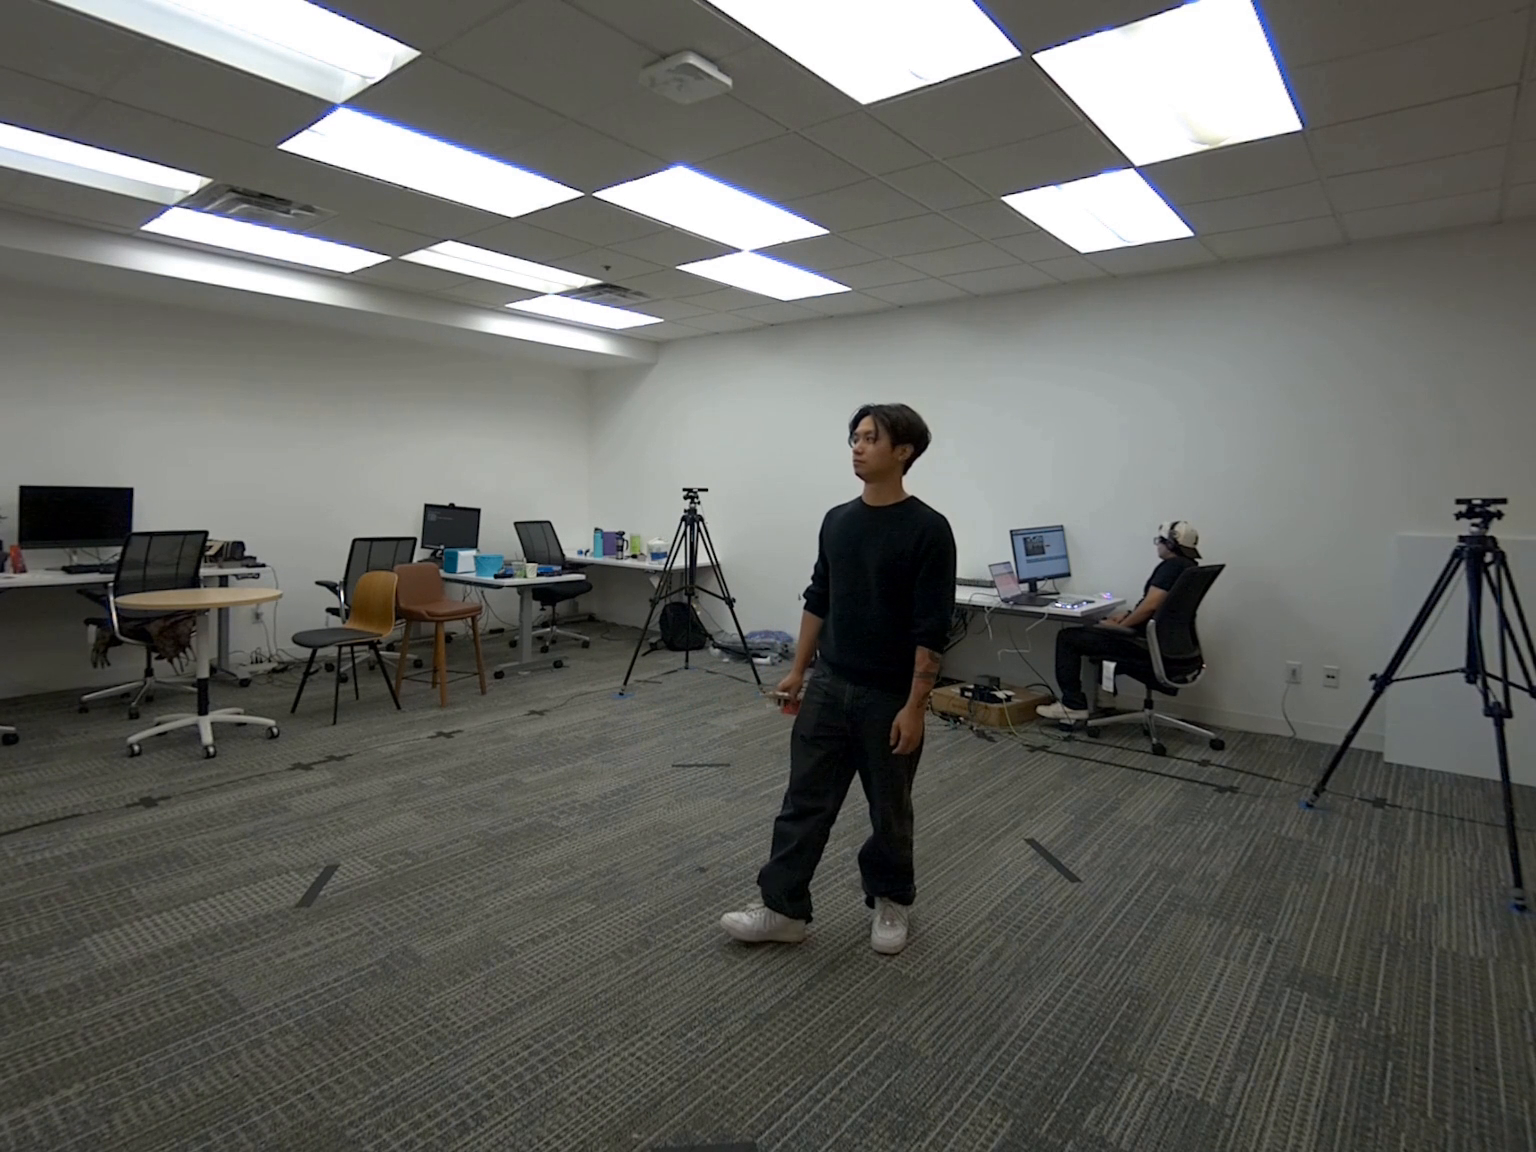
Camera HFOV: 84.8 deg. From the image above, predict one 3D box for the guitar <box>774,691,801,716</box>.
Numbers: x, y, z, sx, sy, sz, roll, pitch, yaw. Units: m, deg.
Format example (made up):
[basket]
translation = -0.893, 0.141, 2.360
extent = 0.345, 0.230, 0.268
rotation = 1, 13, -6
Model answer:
[guitar]
translation = 0.065, 0.429, 2.886
extent = 0.199, 0.071, 0.479
rotation = 0, -9, 38
